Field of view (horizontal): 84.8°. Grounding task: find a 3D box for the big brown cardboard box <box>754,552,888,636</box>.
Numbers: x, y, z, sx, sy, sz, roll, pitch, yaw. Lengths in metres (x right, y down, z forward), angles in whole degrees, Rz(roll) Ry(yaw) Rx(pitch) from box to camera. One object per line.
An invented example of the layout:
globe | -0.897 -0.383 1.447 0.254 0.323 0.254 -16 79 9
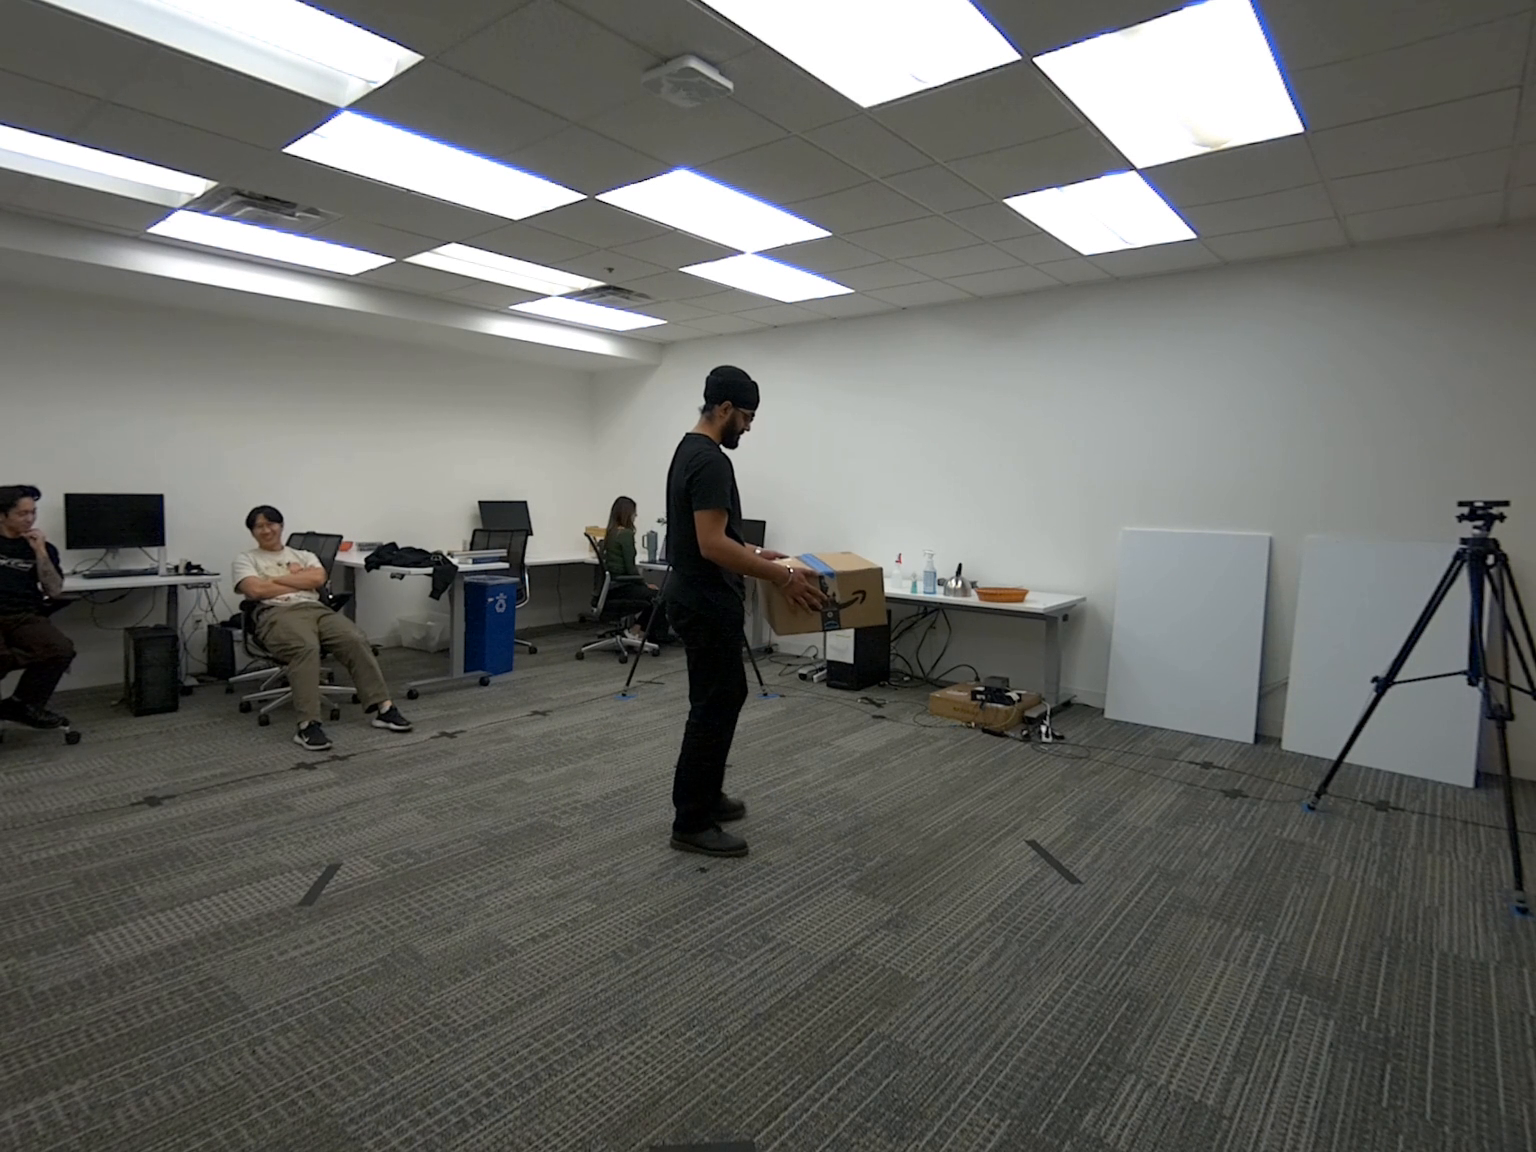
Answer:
big brown cardboard box | 0.183 0.054 3.403 0.416 0.231 0.596 -5 8 -6
